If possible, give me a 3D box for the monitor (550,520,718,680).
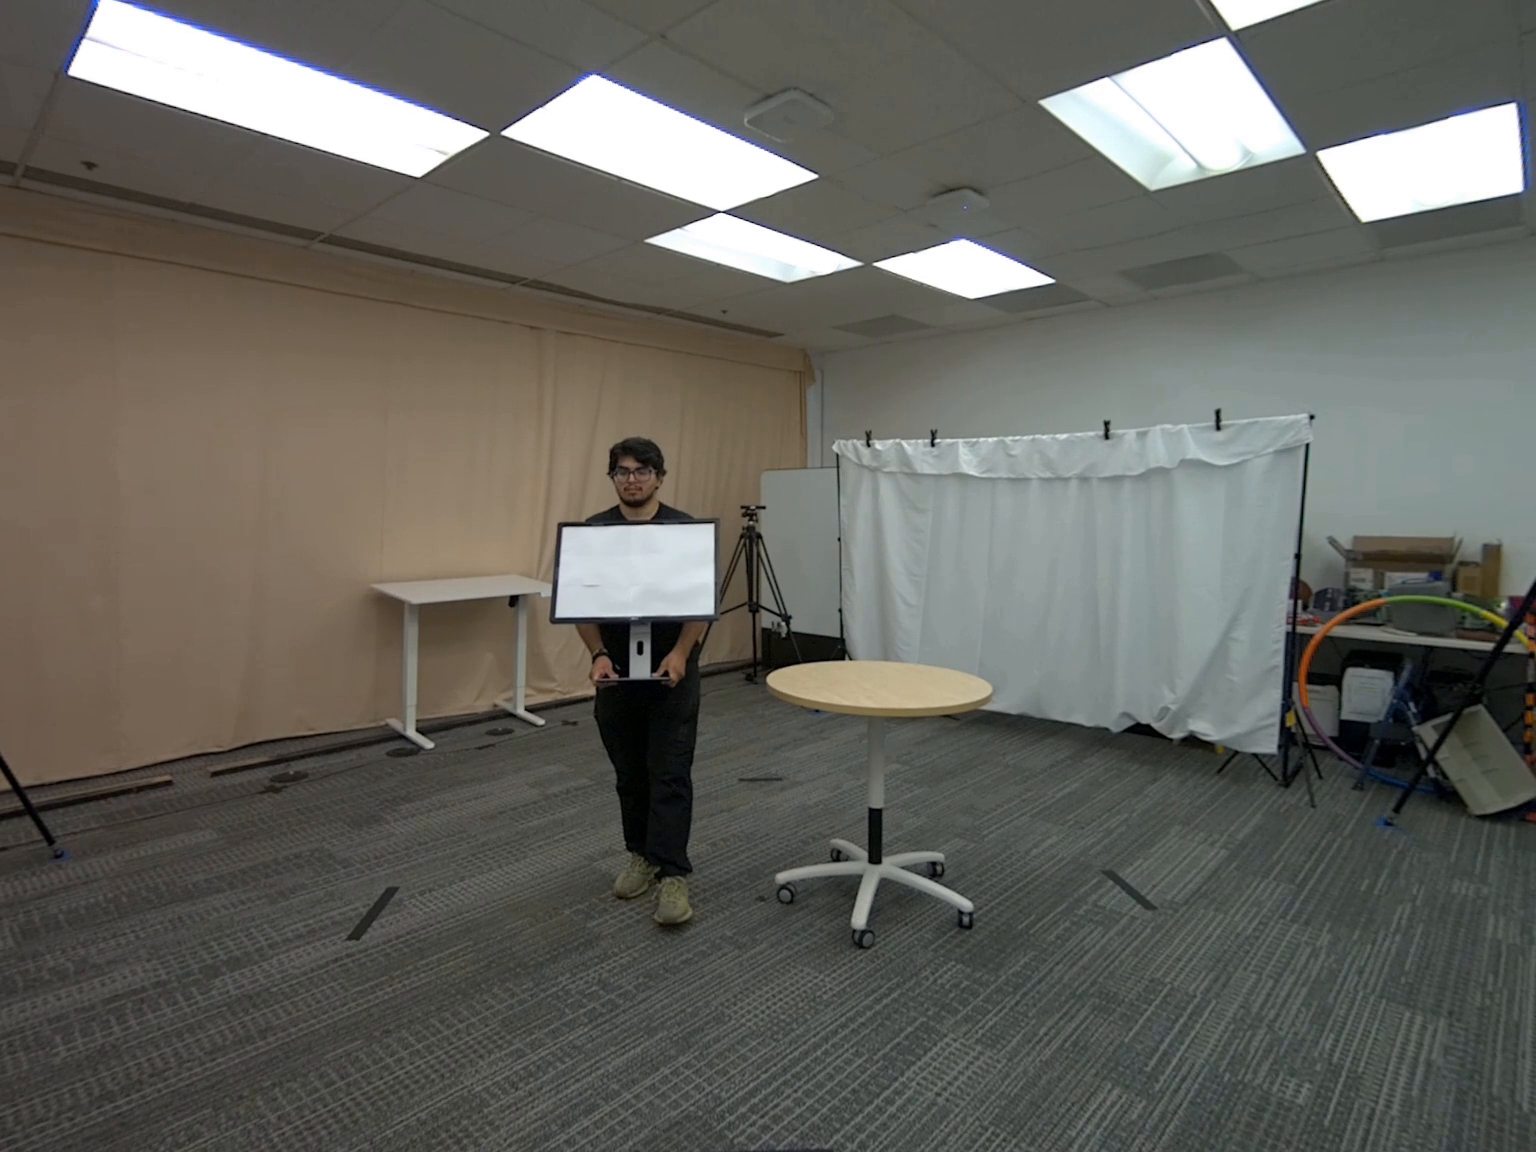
[{"bbox_3d":[-0.424,0.089,2.852,0.567,0.560,0.207,-2,-17,3],"label":"monitor"}]
